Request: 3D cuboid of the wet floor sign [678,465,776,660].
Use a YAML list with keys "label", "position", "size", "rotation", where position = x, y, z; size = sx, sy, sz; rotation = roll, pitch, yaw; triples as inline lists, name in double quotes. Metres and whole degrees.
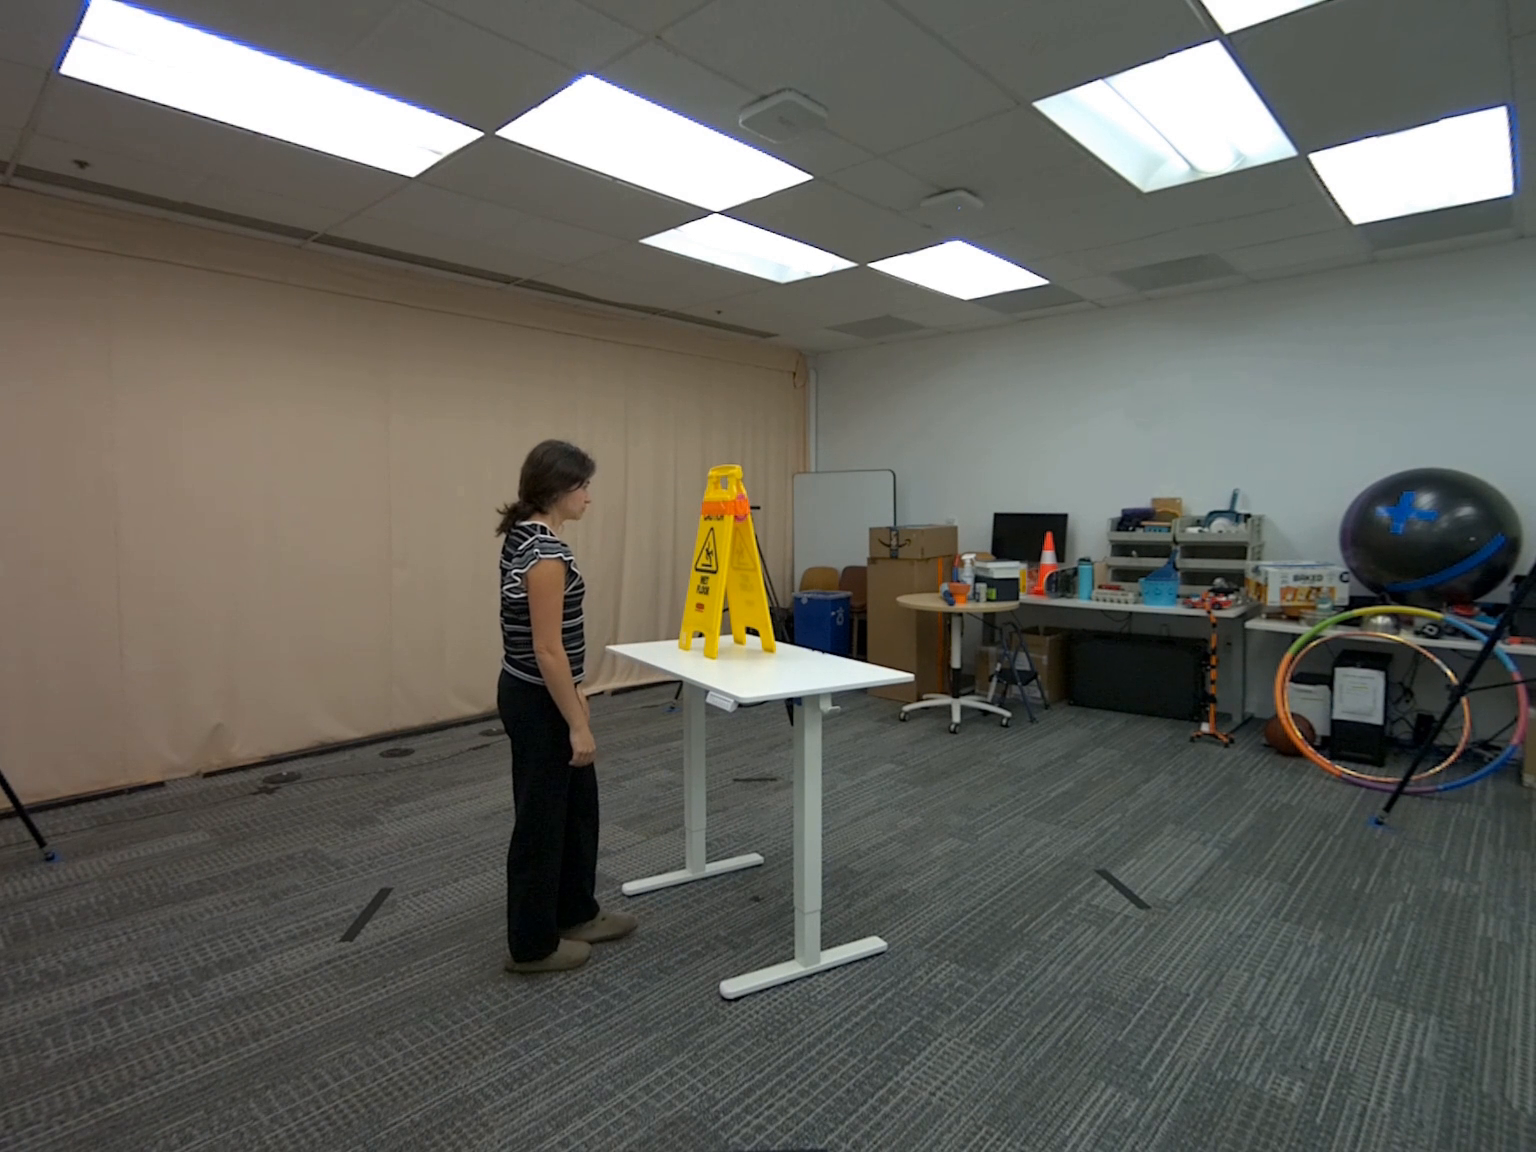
- label: "wet floor sign"
  position: [-0.145, -0.060, 2.968]
  size: [0.282, 0.645, 0.290]
  rotation: [-1, 3, -31]
